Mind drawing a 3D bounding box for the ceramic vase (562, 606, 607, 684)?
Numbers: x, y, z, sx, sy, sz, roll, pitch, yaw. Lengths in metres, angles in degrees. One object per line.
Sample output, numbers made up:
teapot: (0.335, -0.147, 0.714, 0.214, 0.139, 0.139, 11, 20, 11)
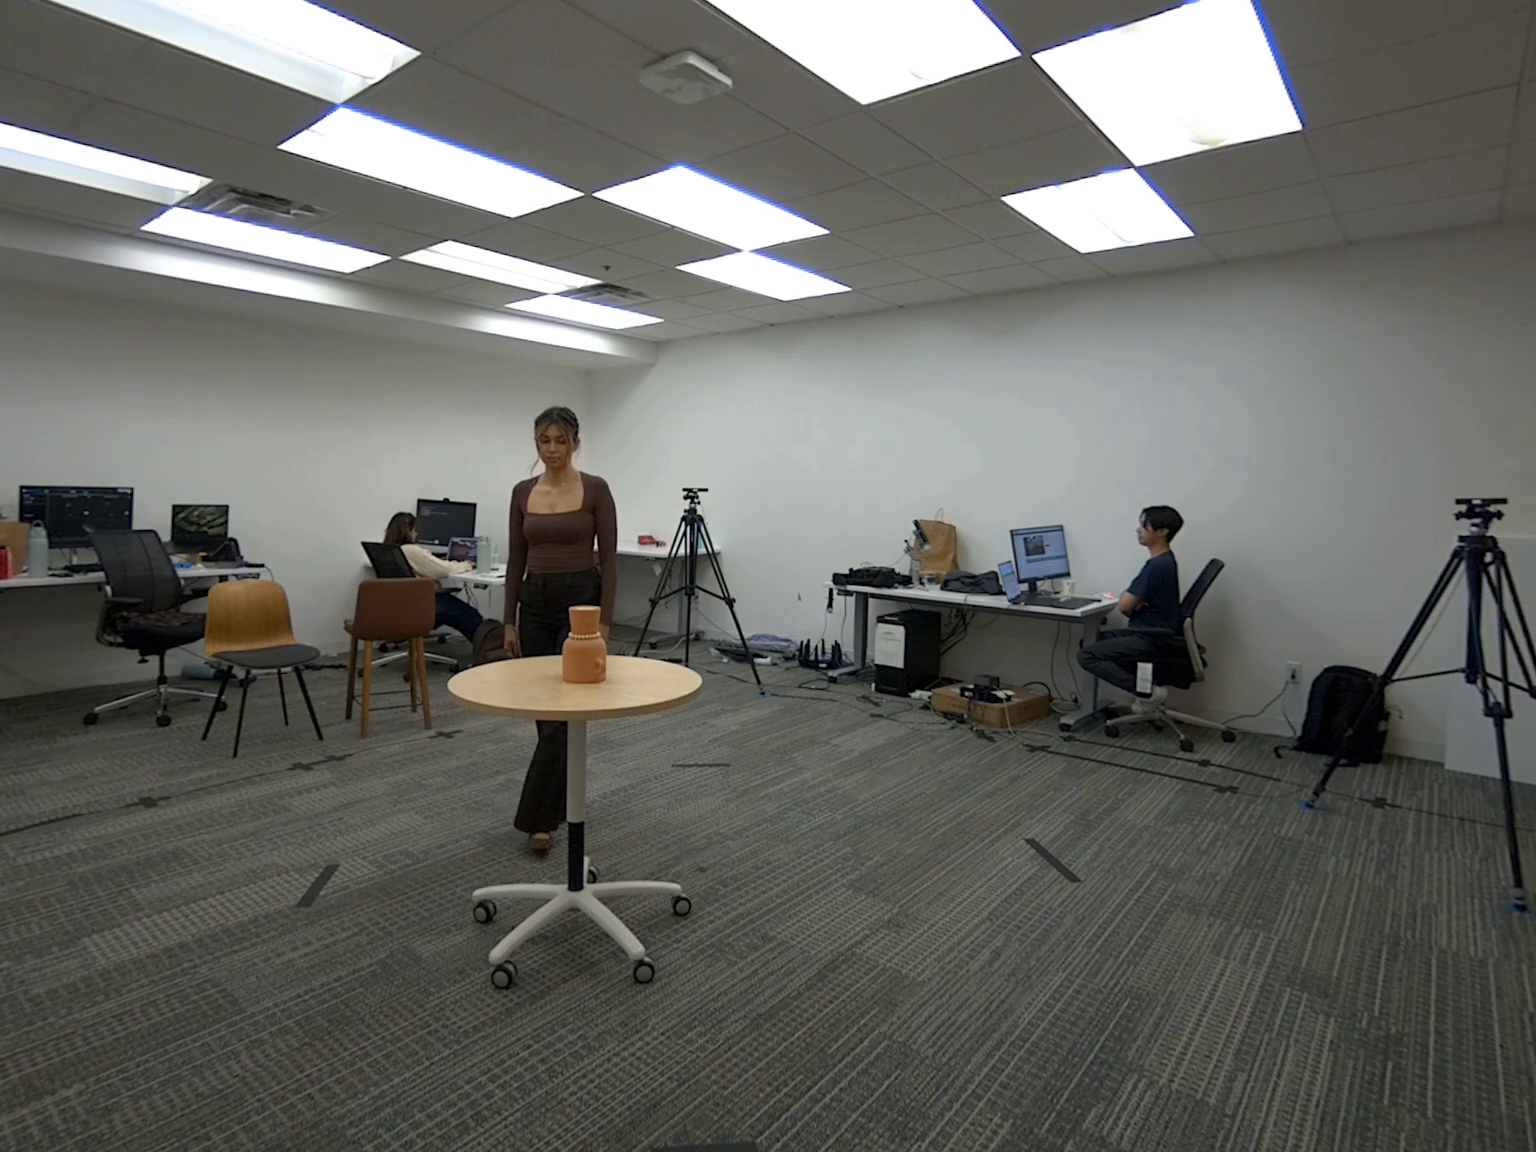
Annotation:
ceramic vase: (-0.572, 0.206, 2.608, 0.160, 0.219, 0.134, 2, 4, 4)
